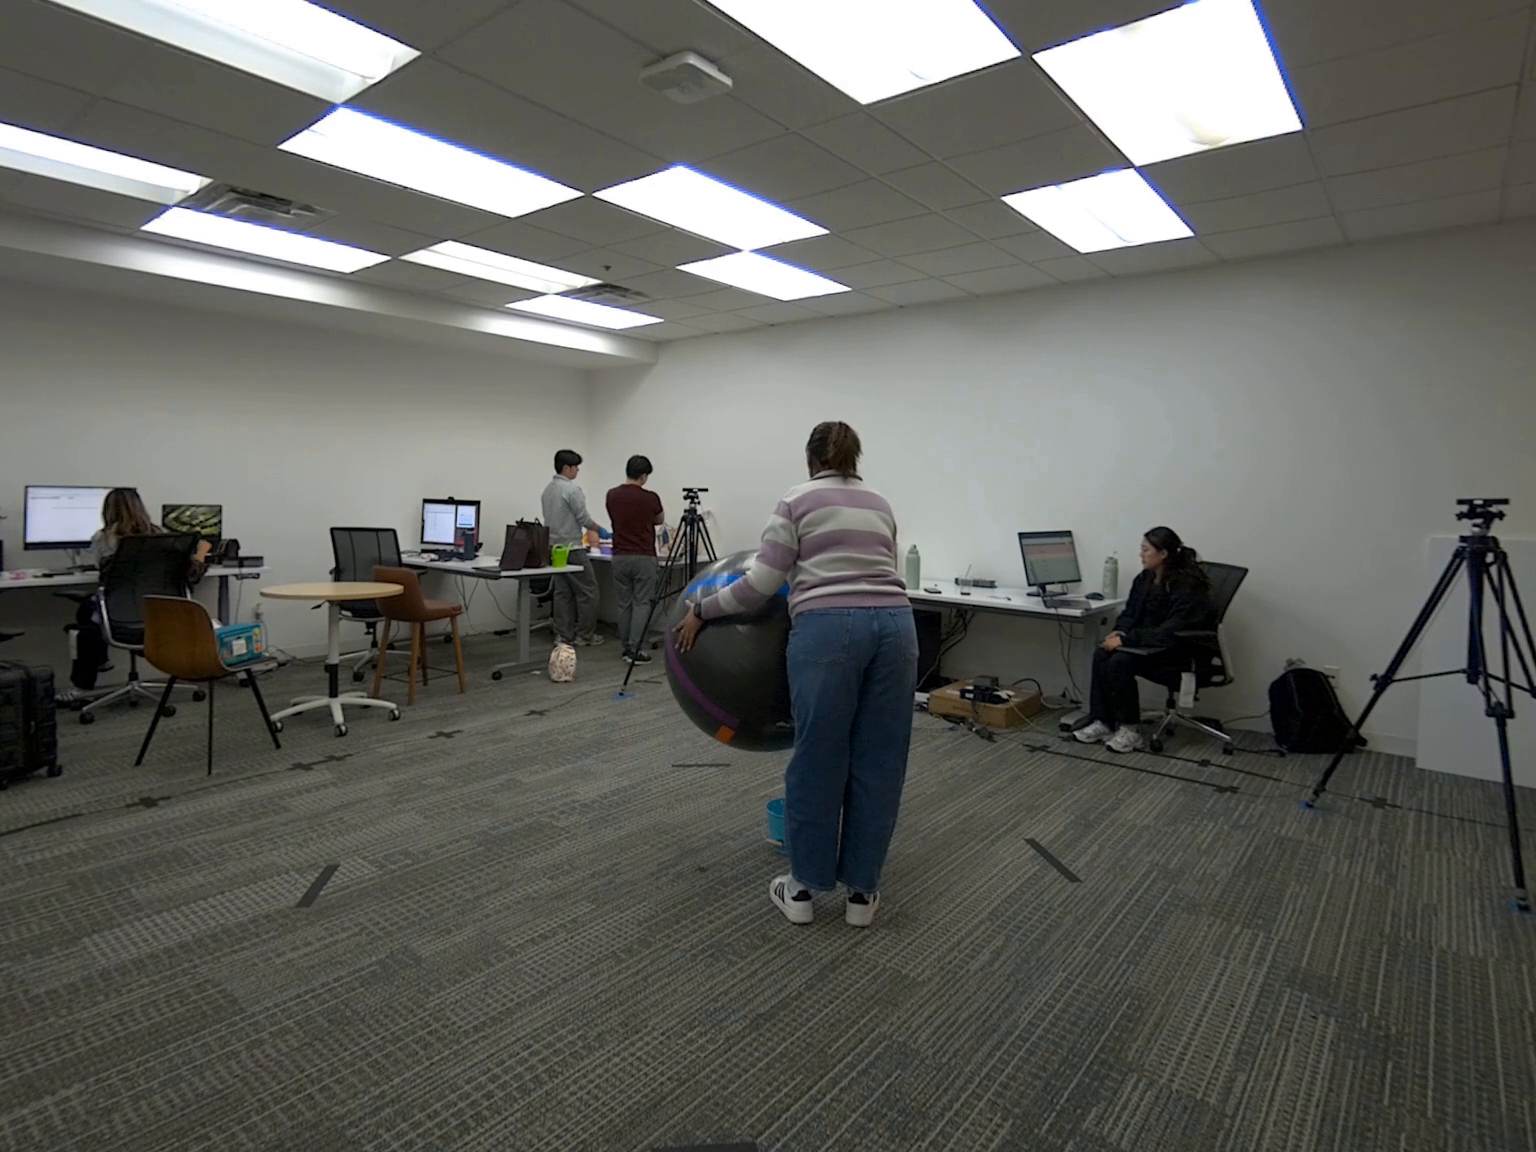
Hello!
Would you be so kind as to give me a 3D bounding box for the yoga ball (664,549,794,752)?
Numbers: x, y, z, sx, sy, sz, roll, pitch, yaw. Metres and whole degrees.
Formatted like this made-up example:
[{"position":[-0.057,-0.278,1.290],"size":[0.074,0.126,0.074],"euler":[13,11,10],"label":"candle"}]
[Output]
[{"position":[-0.023,0.284,3.222],"size":[0.757,0.756,0.762],"euler":[1,4,-2],"label":"yoga ball"}]
